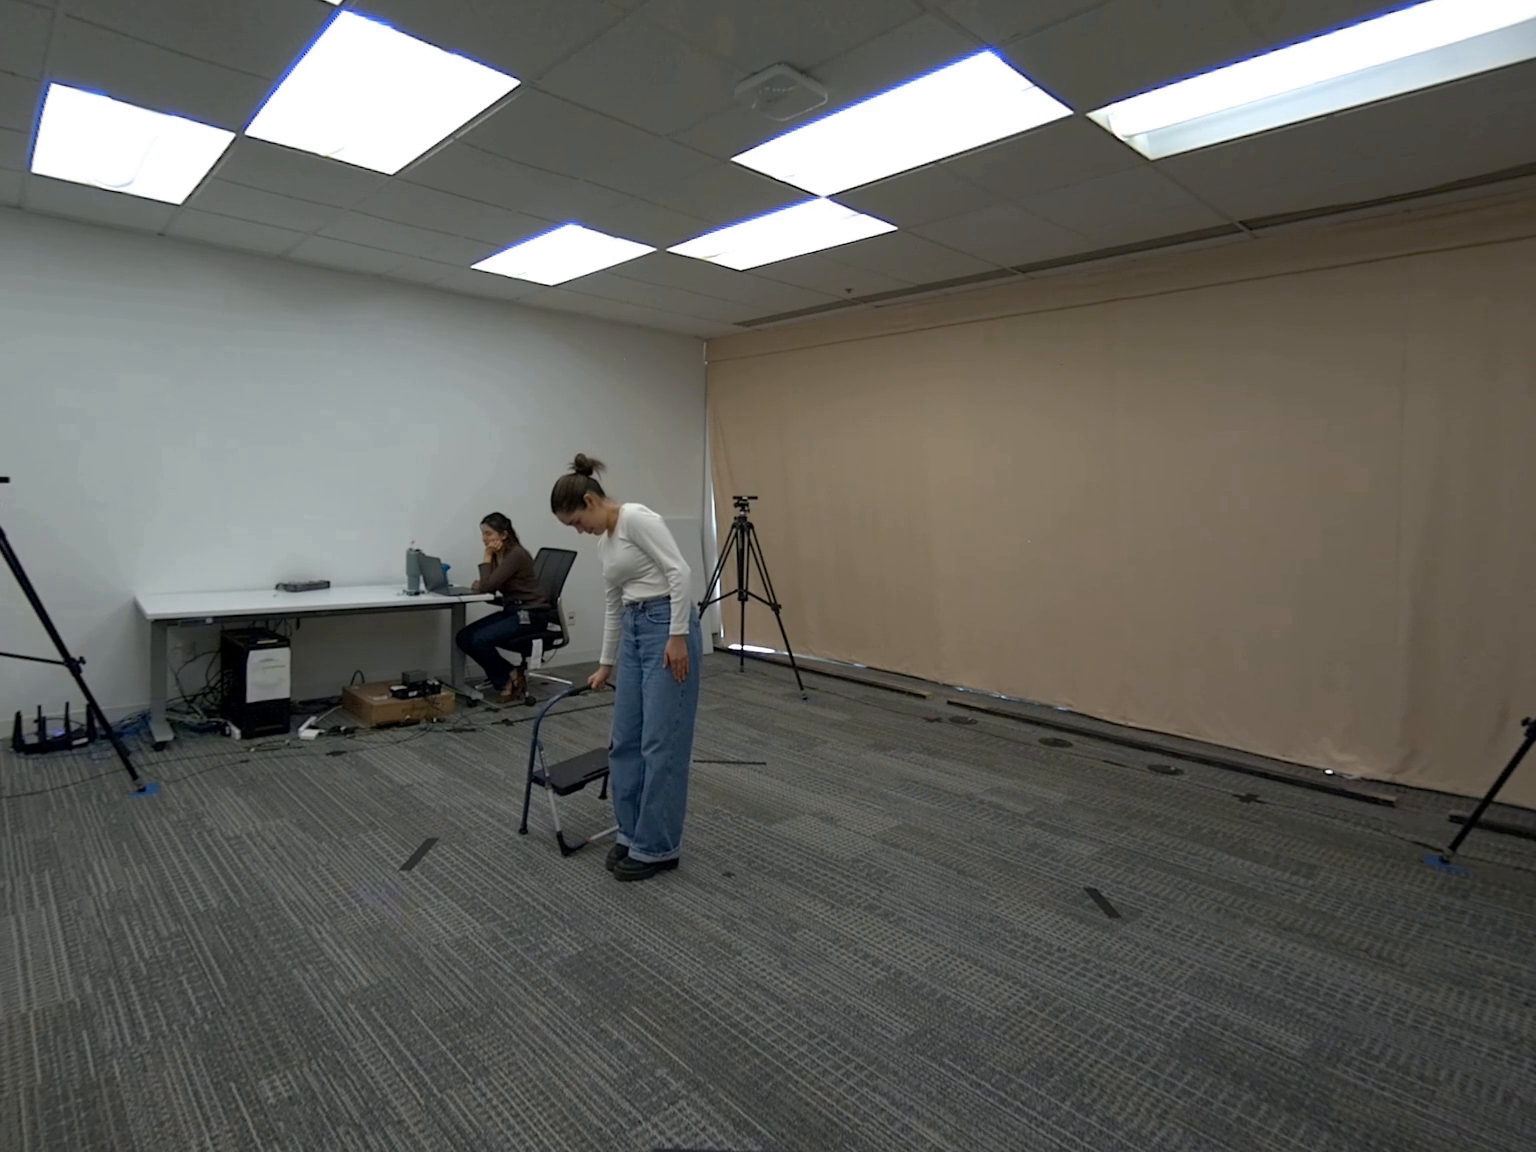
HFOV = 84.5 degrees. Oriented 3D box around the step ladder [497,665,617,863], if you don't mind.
[{"bbox_3d":[-0.785,0.735,3.436,0.423,0.602,0.358,-13,12,-43],"label":"step ladder"}]
